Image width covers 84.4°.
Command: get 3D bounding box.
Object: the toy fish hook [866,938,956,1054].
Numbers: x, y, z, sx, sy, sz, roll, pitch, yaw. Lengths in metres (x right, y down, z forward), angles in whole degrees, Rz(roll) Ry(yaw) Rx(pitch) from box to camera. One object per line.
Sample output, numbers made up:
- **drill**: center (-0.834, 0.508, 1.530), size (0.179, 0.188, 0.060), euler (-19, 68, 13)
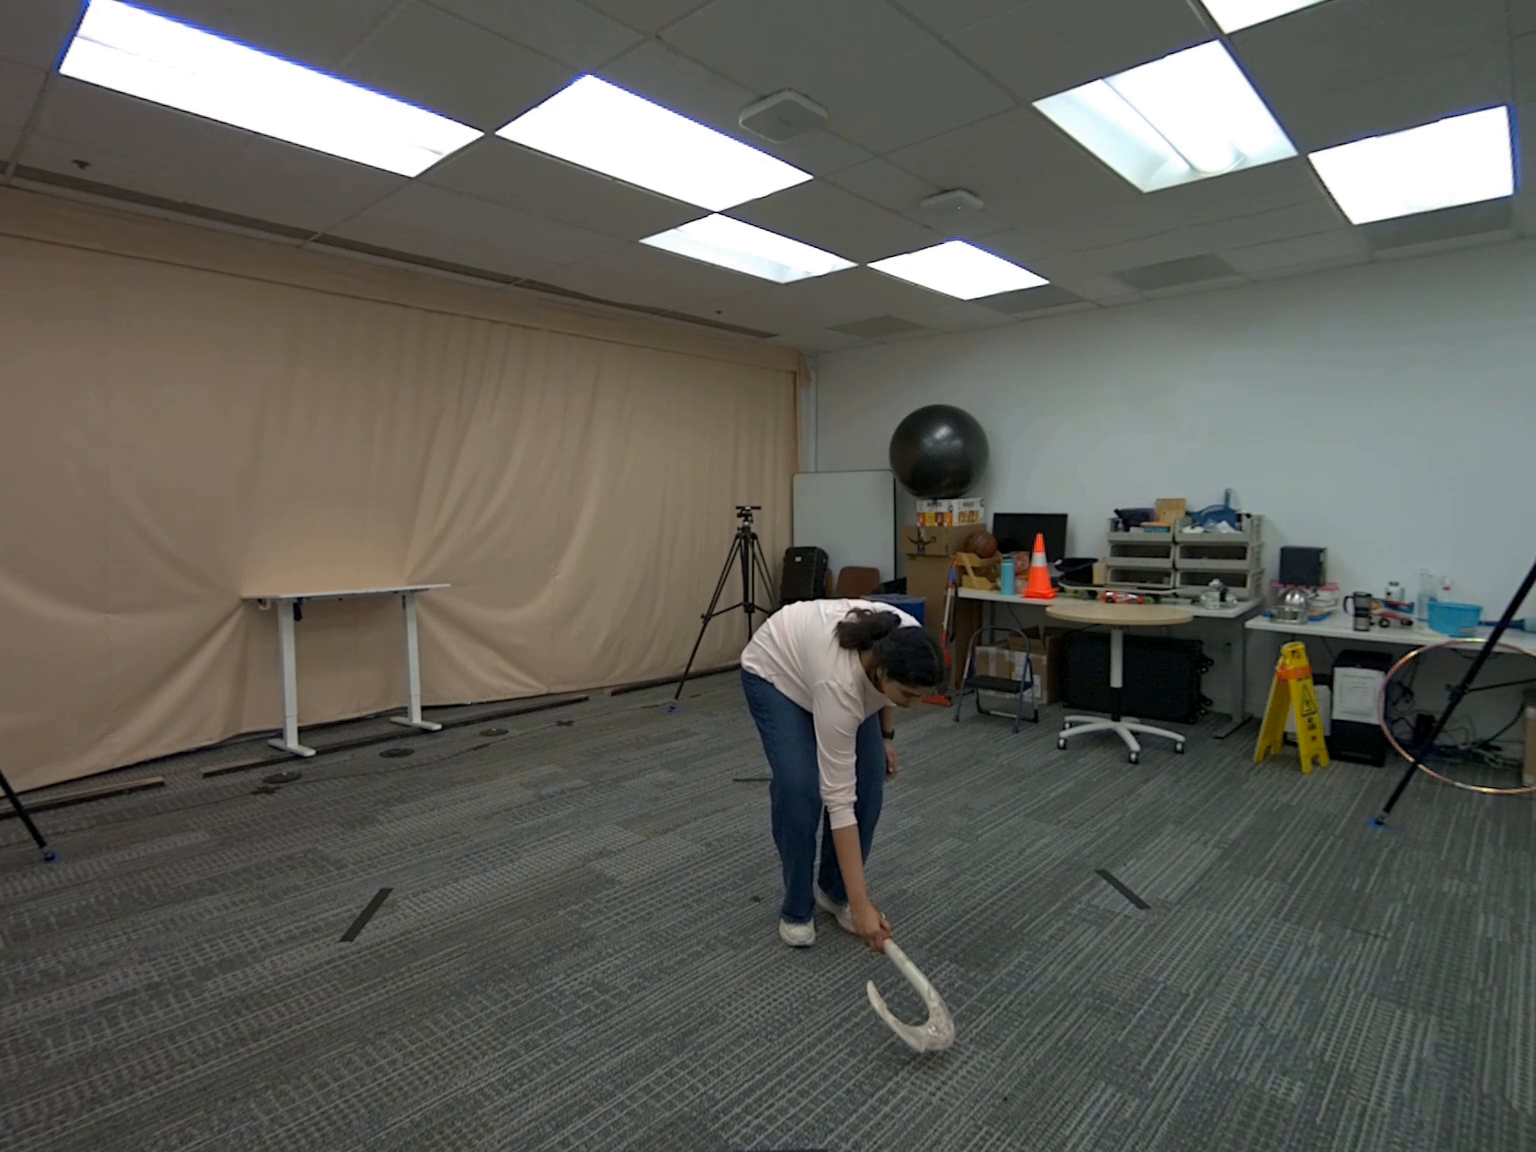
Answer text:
- **toy fish hook**: center (0.317, 1.031, 2.276), size (0.218, 0.048, 0.523), euler (14, 22, -30)
